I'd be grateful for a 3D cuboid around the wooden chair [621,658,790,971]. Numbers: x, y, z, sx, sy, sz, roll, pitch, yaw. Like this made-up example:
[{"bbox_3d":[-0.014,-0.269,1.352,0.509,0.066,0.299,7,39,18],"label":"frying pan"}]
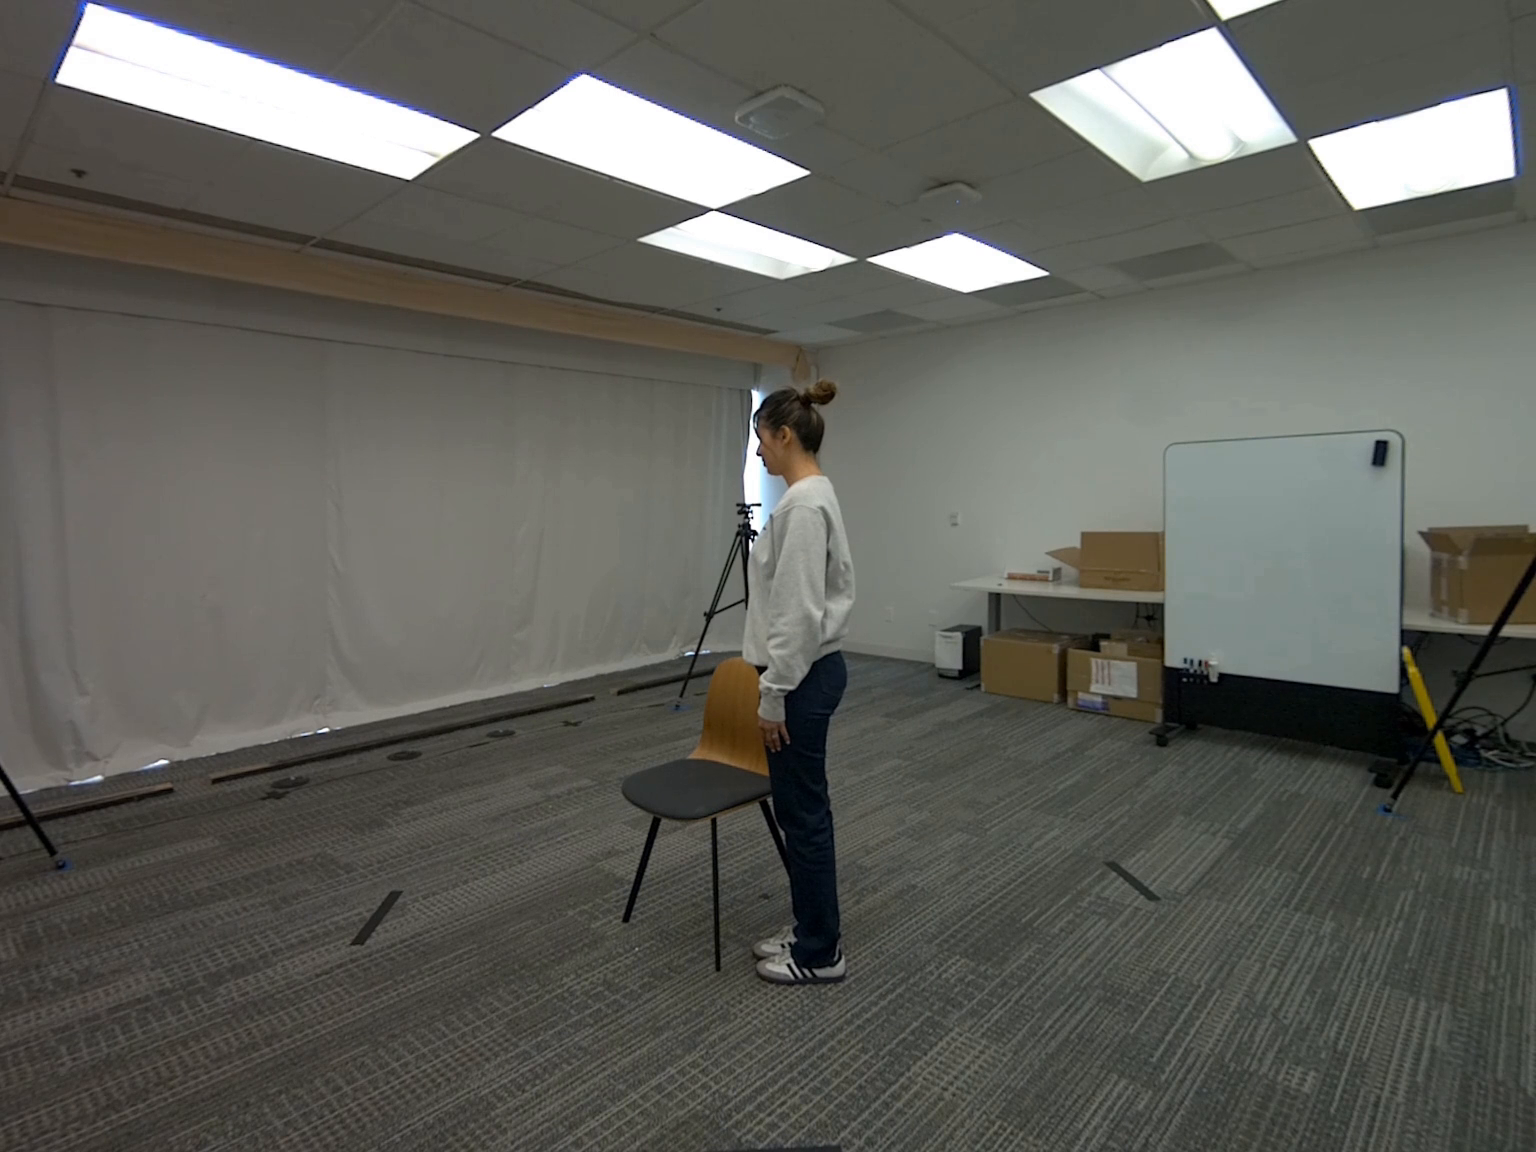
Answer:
[{"bbox_3d":[-0.182,0.730,2.794,0.494,0.877,0.506,3,1,43],"label":"wooden chair"}]
